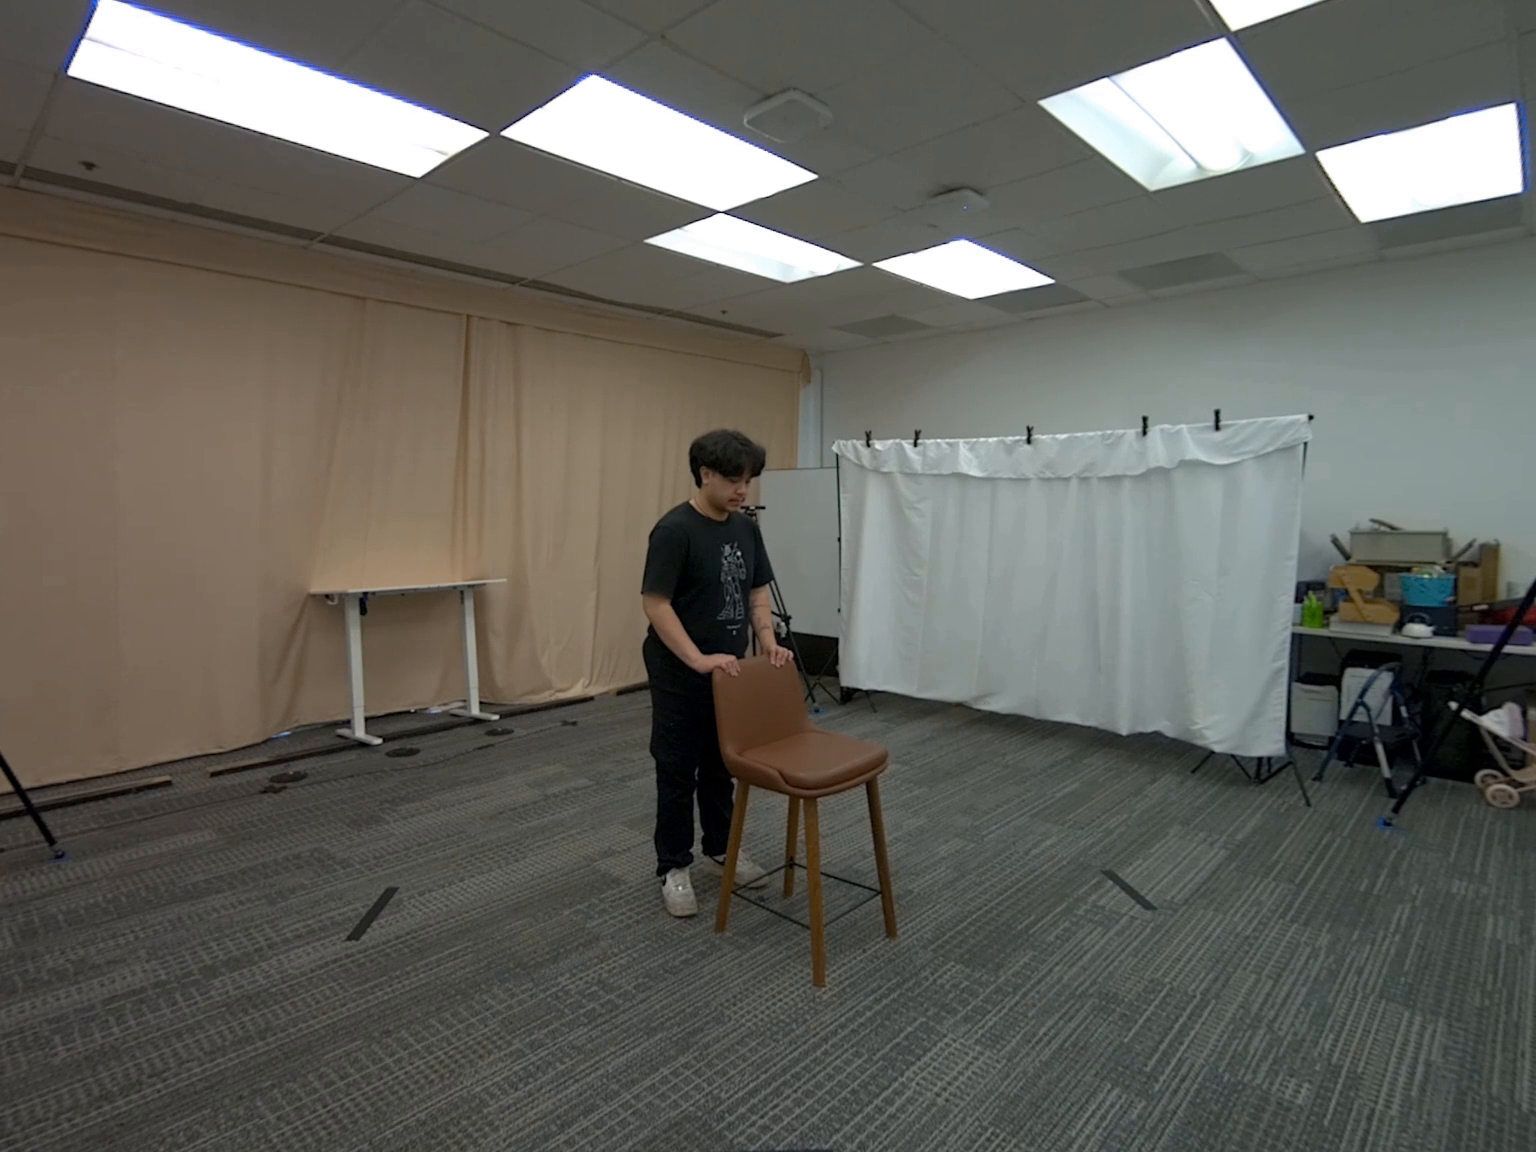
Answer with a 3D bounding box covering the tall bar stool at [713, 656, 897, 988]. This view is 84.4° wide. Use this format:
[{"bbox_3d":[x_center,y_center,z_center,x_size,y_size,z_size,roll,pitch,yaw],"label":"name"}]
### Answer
[{"bbox_3d":[0.110,0.728,2.715,0.483,0.888,0.442,0,3,43],"label":"tall bar stool"}]
